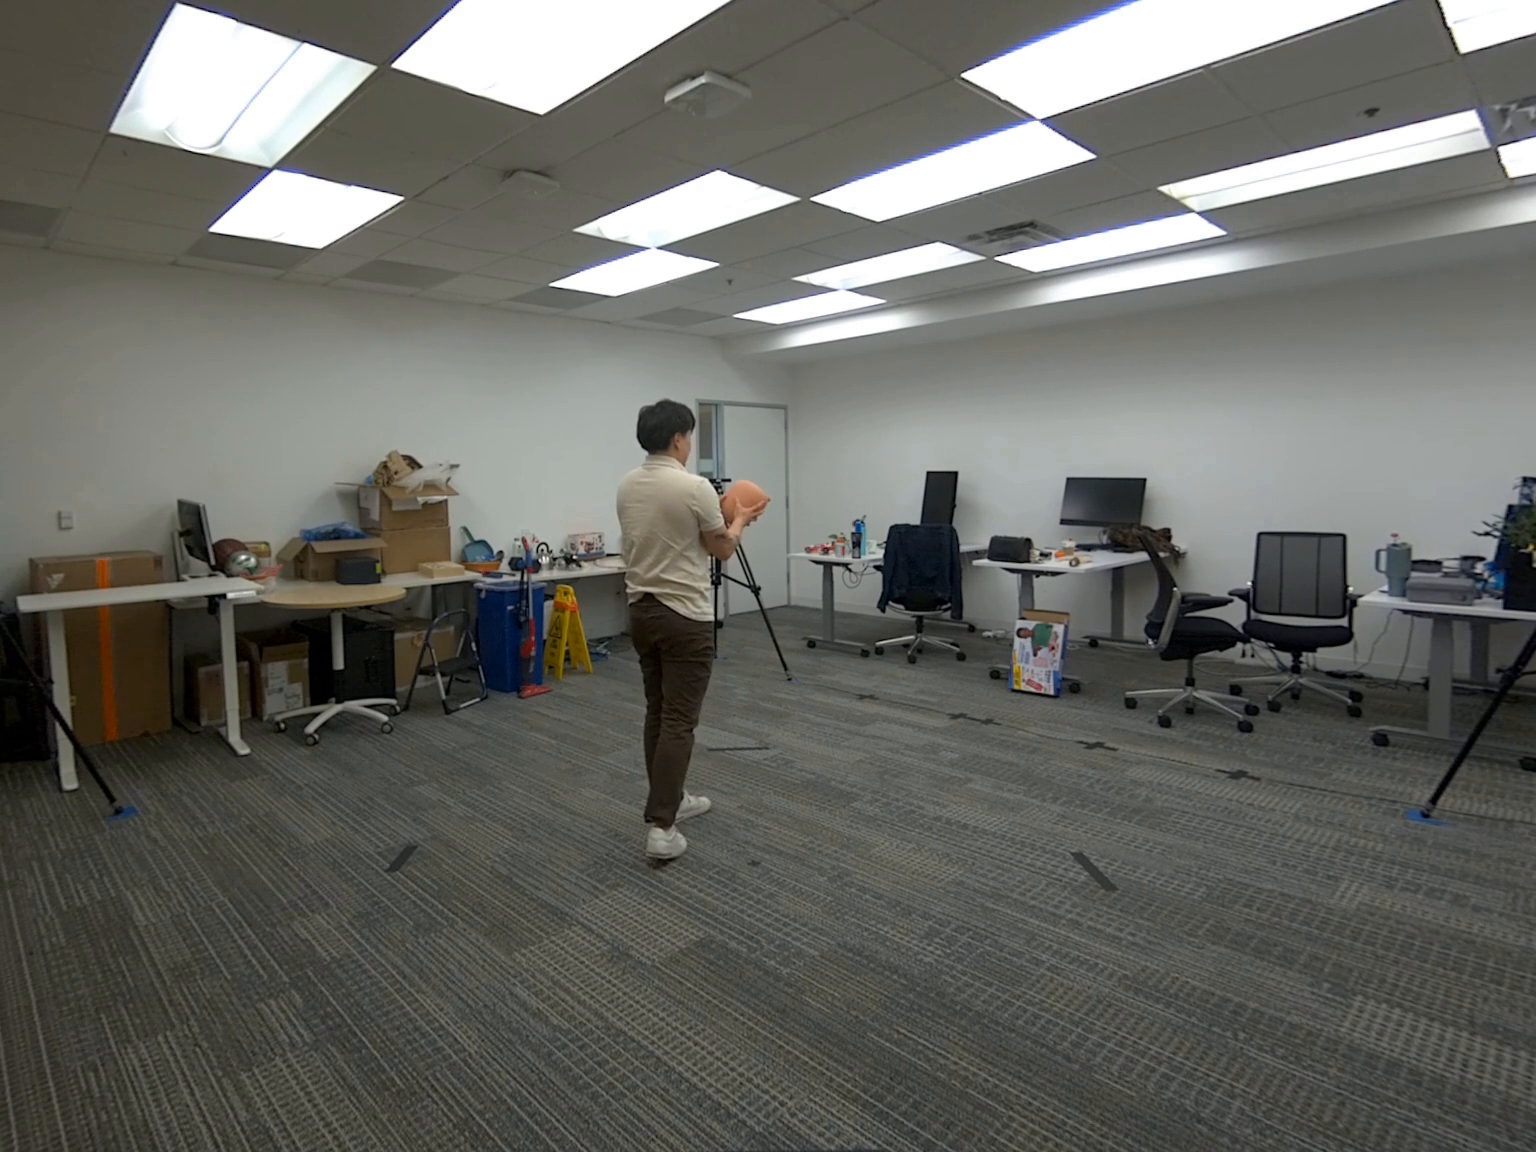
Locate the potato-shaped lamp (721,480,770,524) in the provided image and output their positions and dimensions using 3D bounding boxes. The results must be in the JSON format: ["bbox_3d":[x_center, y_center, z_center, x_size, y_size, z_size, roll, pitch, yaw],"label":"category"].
[{"bbox_3d":[-0.111,-0.303,3.654,0.165,0.198,0.170,43,-16,-35],"label":"potato-shaped lamp"}]
